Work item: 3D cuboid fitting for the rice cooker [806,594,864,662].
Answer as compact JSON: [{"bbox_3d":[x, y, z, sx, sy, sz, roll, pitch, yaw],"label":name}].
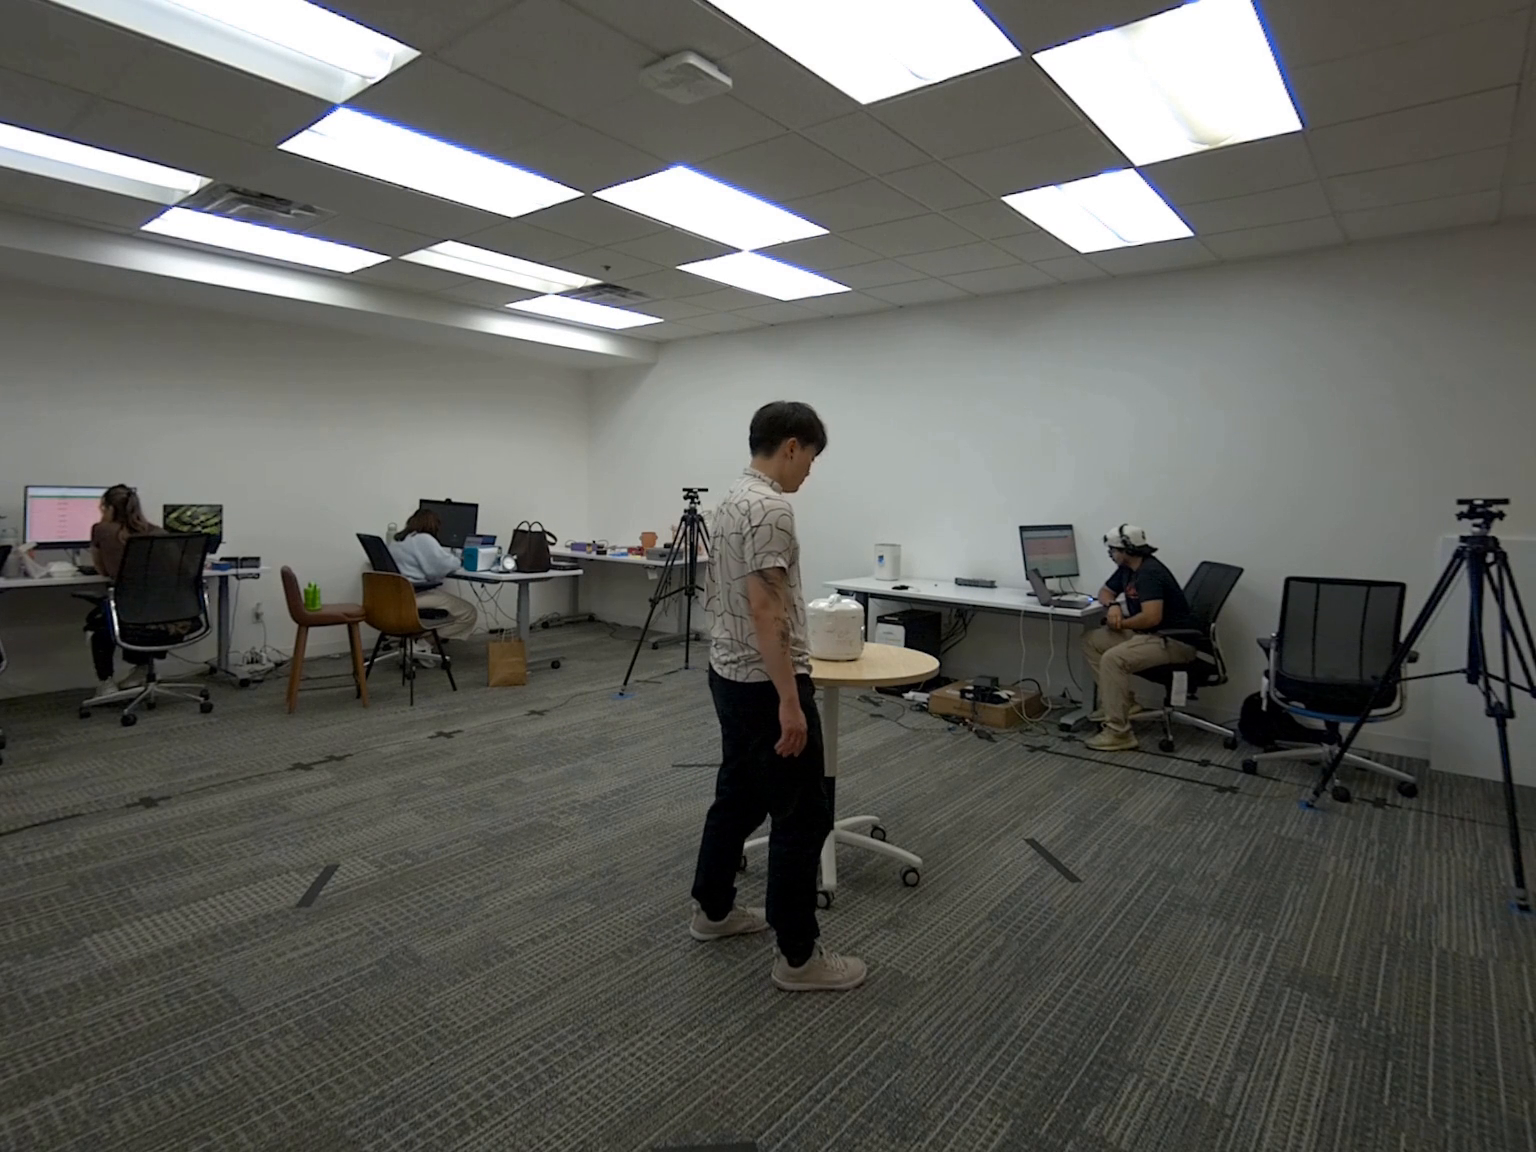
[{"bbox_3d":[0.237,0.179,3.125,0.221,0.232,0.217,1,4,17],"label":"rice cooker"}]
